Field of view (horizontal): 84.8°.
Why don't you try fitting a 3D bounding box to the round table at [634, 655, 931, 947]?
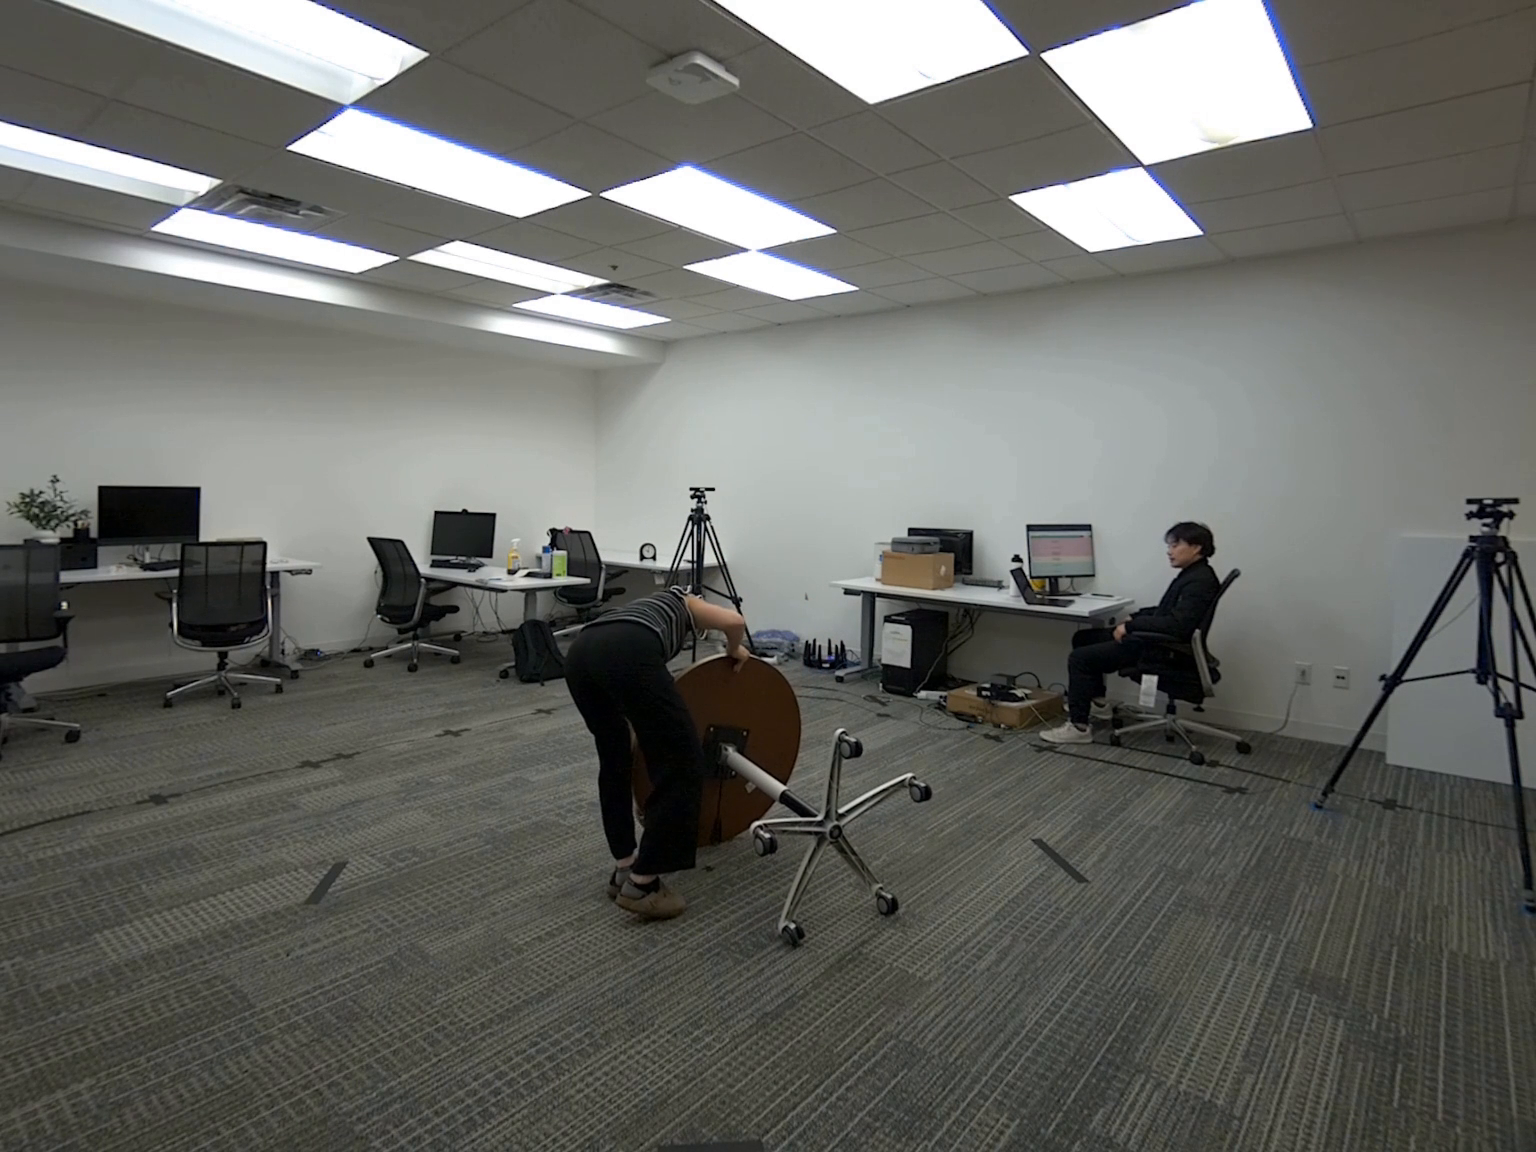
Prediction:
[{"bbox_3d":[0.035,0.750,2.967,0.742,0.758,0.823,-2,10,-33],"label":"round table"}]
